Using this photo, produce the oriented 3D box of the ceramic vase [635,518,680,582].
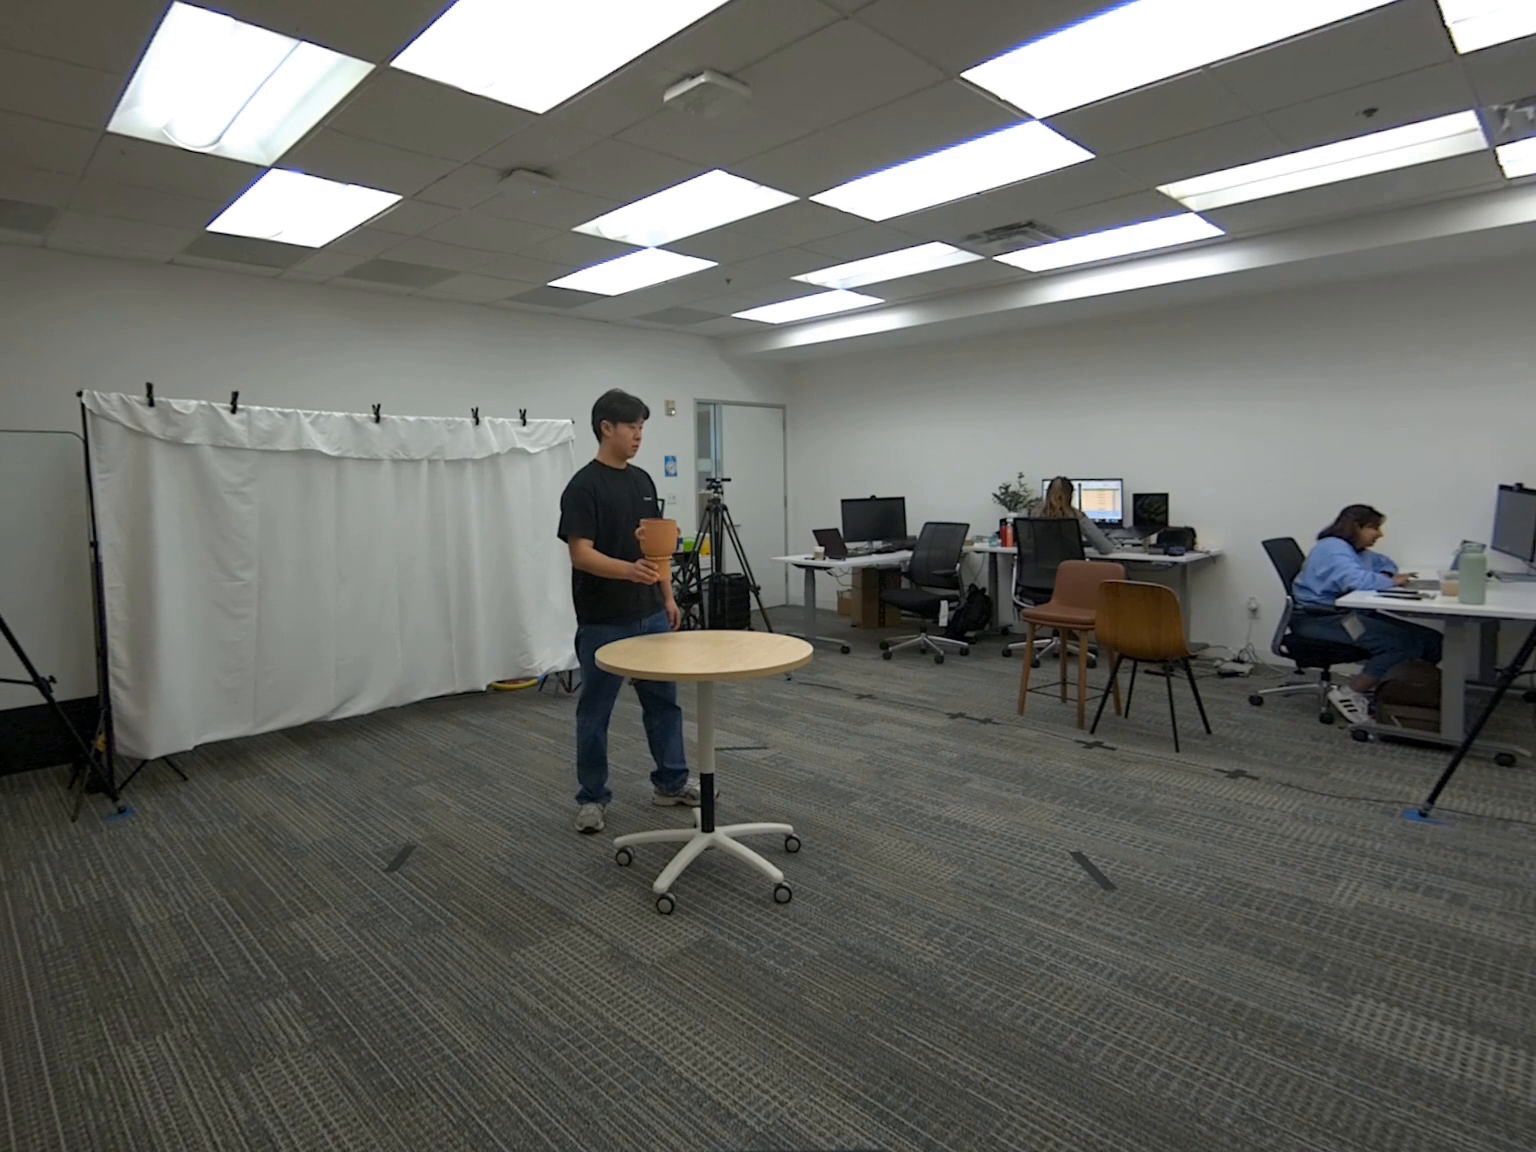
[{"bbox_3d":[-0.402,-0.098,3.143,0.159,0.219,0.135,0,4,1],"label":"ceramic vase"}]
